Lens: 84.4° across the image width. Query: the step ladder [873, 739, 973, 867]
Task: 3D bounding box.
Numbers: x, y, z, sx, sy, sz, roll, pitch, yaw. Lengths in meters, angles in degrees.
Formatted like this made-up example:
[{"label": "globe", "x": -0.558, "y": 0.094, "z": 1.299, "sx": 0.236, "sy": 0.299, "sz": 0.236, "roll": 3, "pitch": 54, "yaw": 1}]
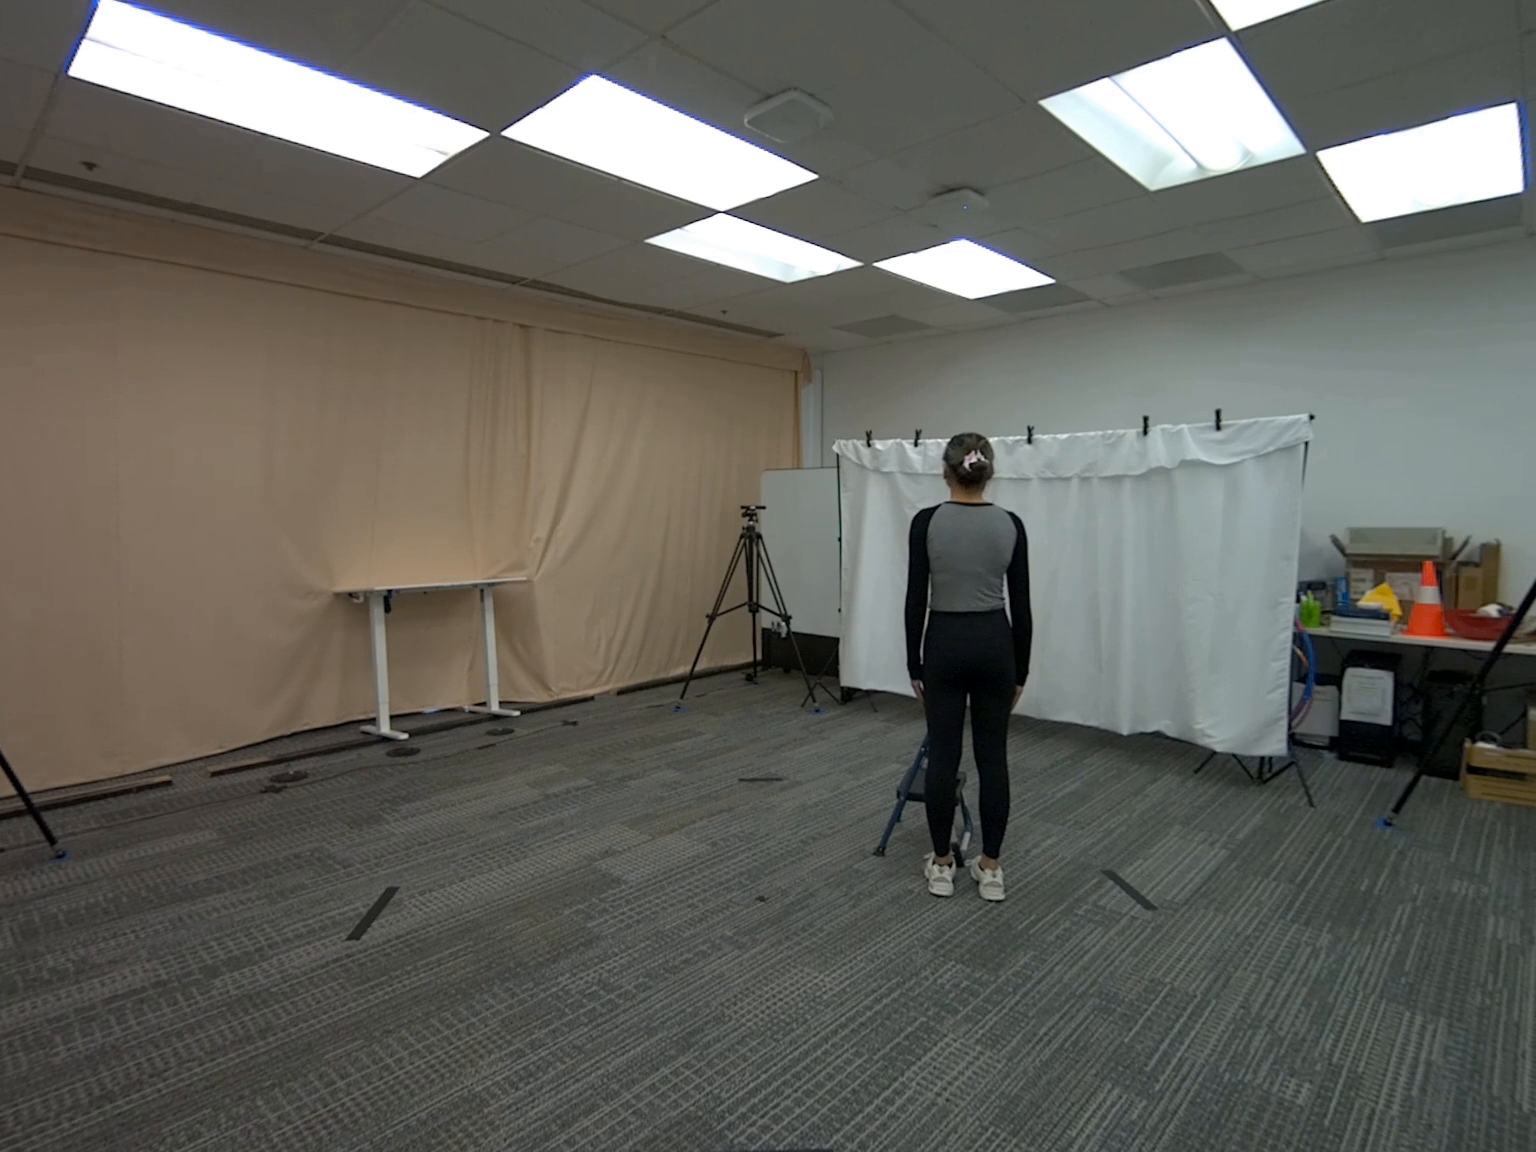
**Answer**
[{"label": "step ladder", "x": 0.654, "y": 0.802, "z": 3.468, "sx": 0.357, "sy": 0.604, "sz": 0.422, "roll": 1, "pitch": 4, "yaw": 20}]
